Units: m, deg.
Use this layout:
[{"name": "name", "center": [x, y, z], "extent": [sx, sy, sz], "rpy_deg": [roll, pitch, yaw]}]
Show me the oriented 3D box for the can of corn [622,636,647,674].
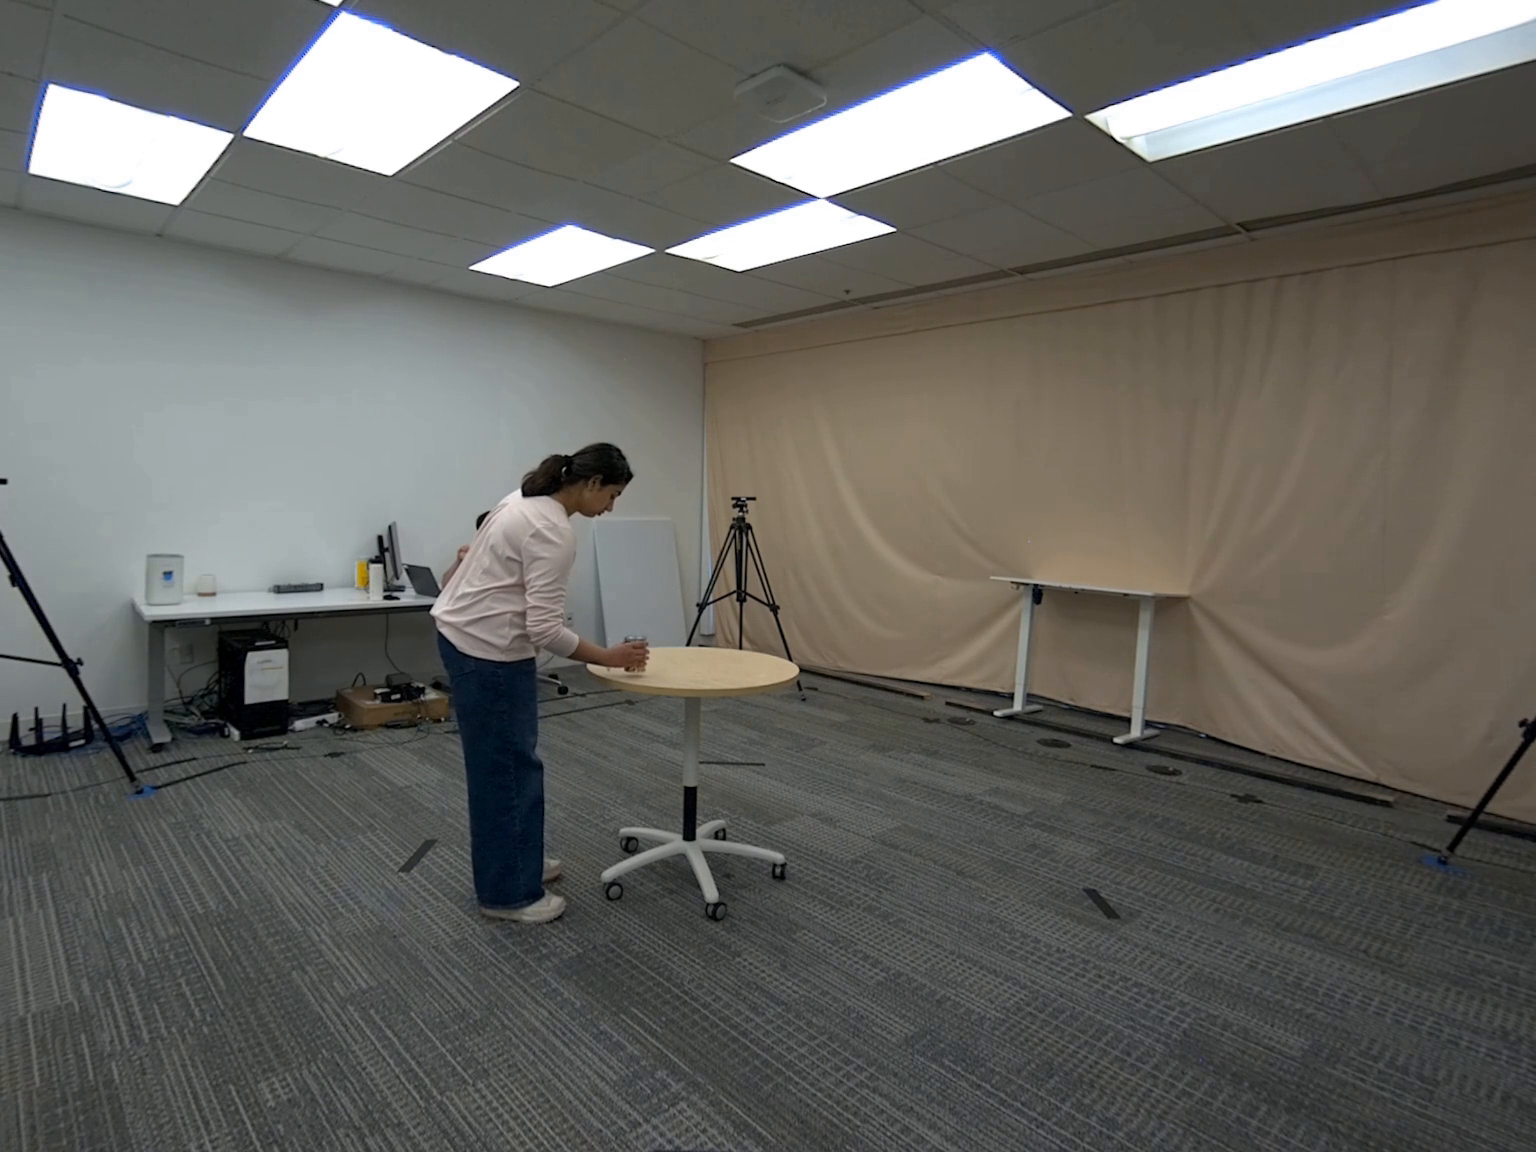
[{"name": "can of corn", "center": [-0.455, 0.264, 2.820], "extent": [0.074, 0.111, 0.074], "rpy_deg": [0, 2, -1]}]
